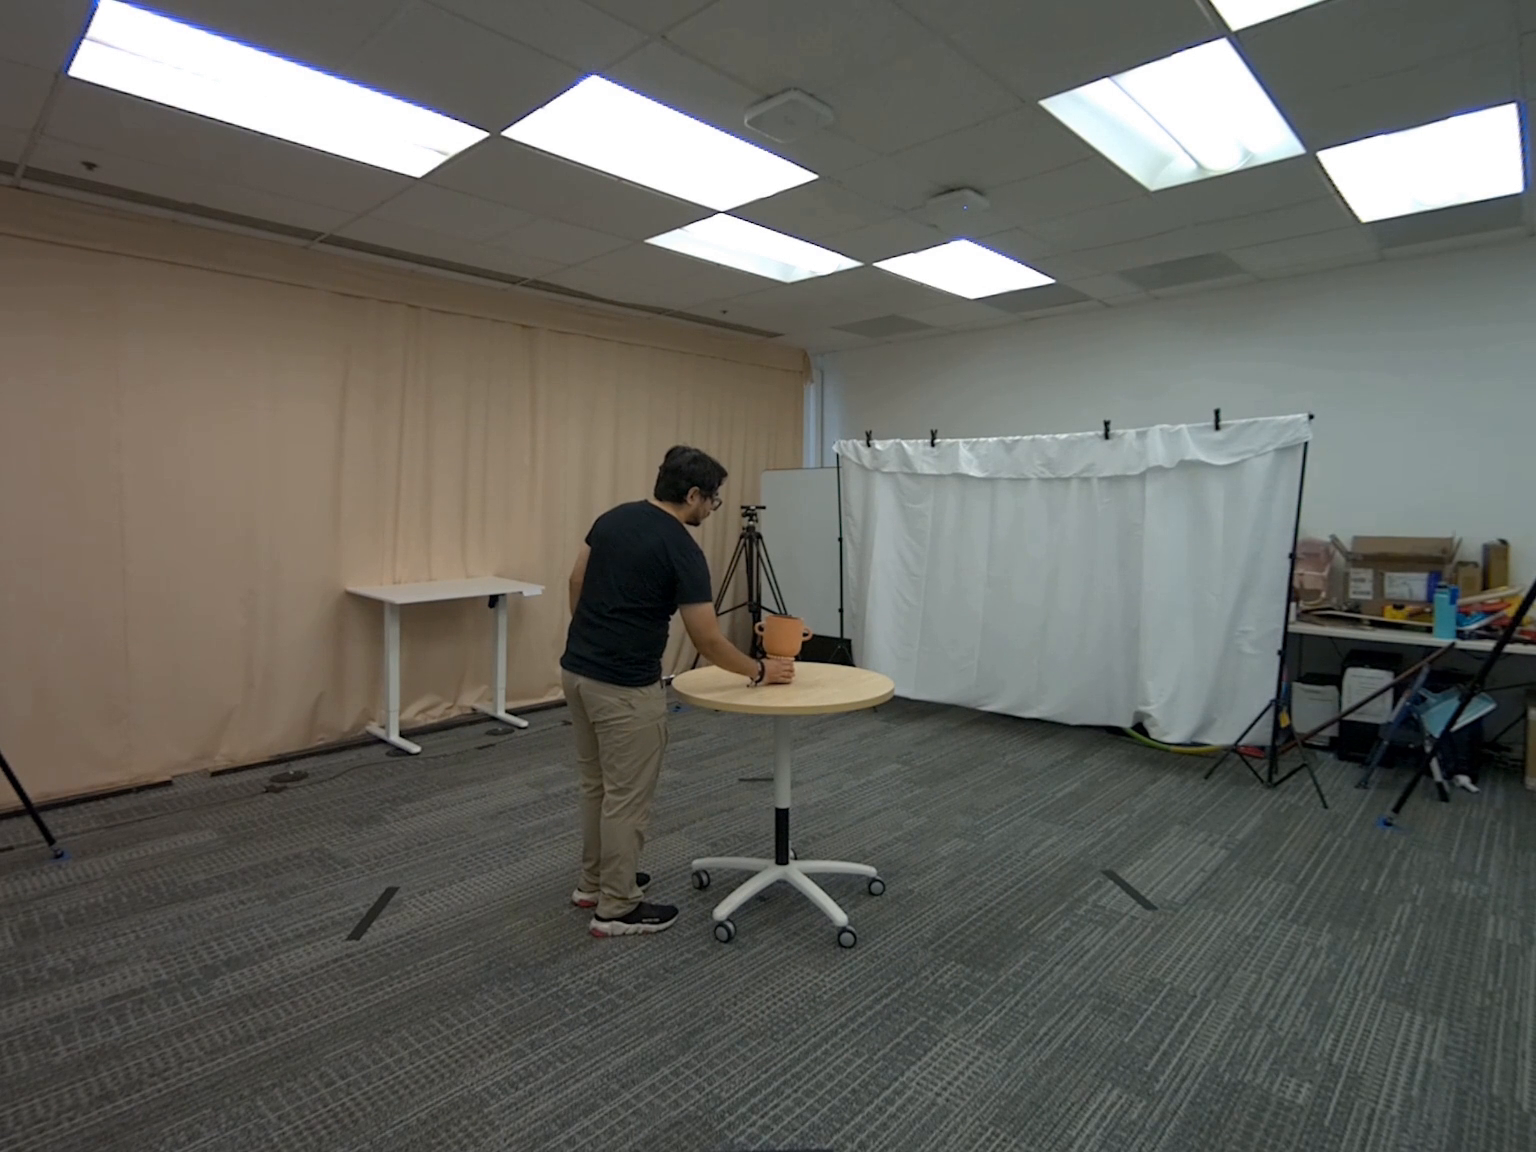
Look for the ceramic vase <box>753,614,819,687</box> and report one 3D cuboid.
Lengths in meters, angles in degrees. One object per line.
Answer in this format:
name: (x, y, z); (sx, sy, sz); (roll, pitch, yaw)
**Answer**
ceramic vase: (0.058, 0.251, 2.889); (0.164, 0.220, 0.130); (5, -1, 38)
